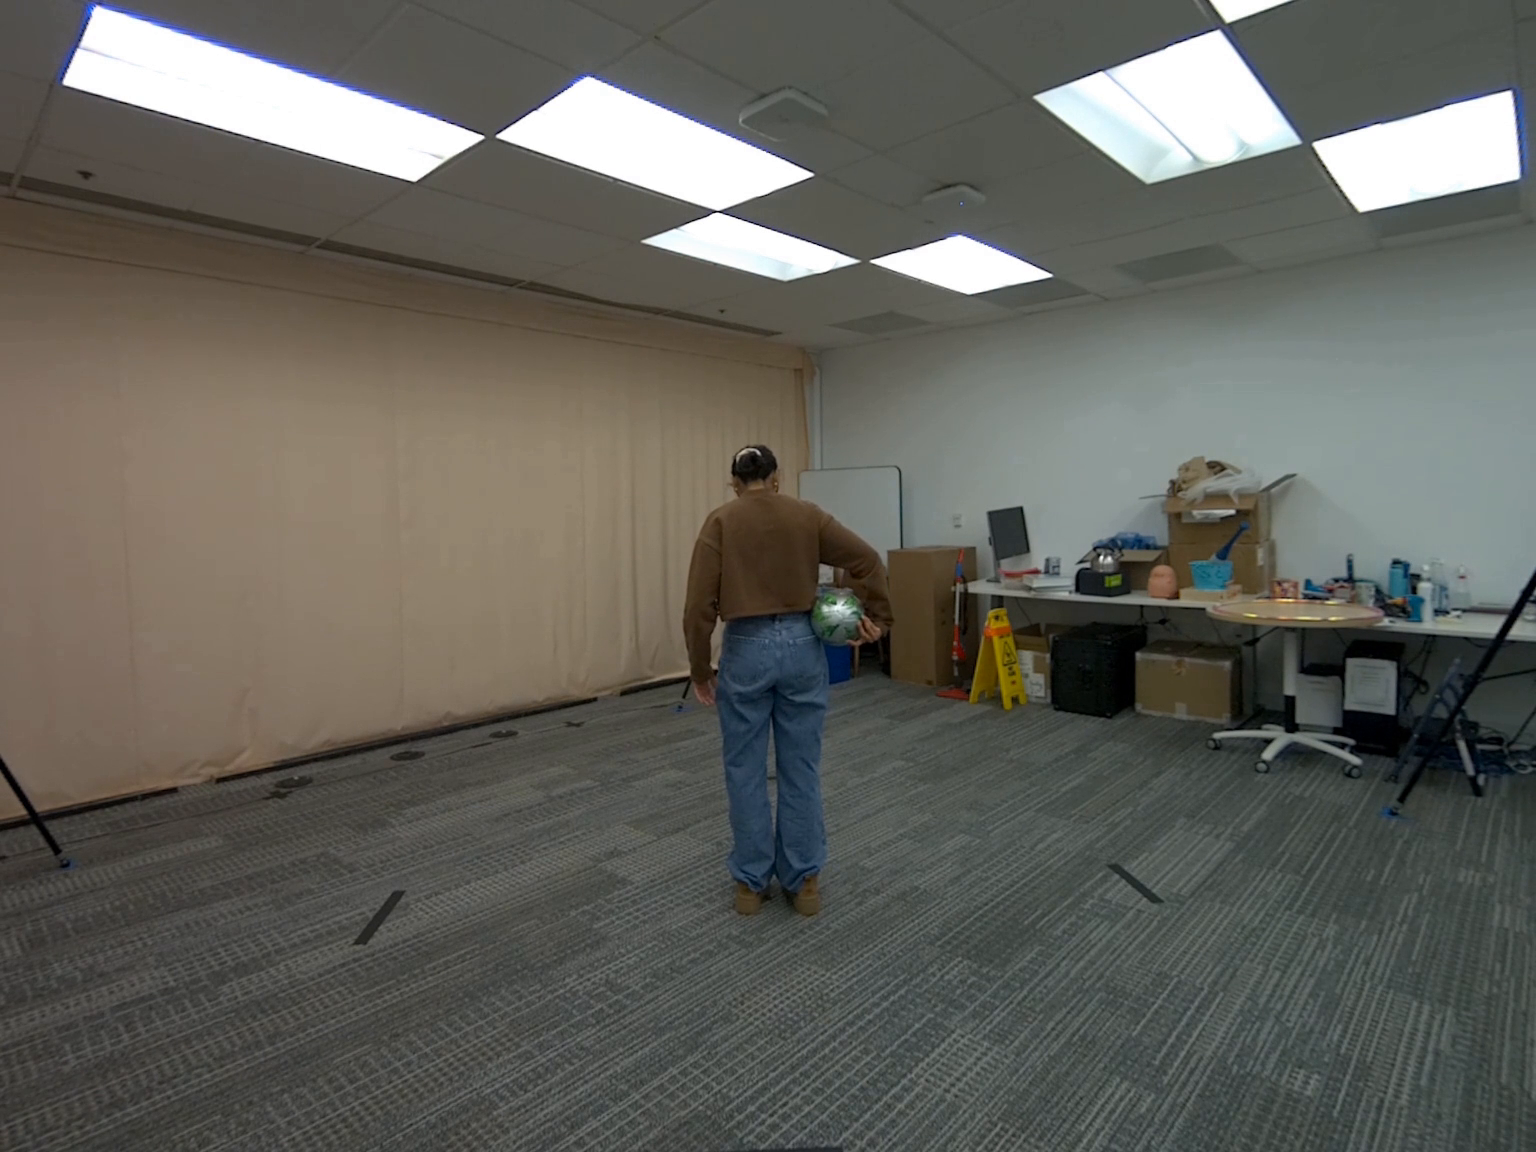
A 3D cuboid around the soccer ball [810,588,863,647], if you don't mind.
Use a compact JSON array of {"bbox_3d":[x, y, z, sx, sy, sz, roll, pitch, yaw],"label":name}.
[{"bbox_3d":[0.244,0.150,2.859,0.187,0.187,0.188,-1,4,-2],"label":"soccer ball"}]
